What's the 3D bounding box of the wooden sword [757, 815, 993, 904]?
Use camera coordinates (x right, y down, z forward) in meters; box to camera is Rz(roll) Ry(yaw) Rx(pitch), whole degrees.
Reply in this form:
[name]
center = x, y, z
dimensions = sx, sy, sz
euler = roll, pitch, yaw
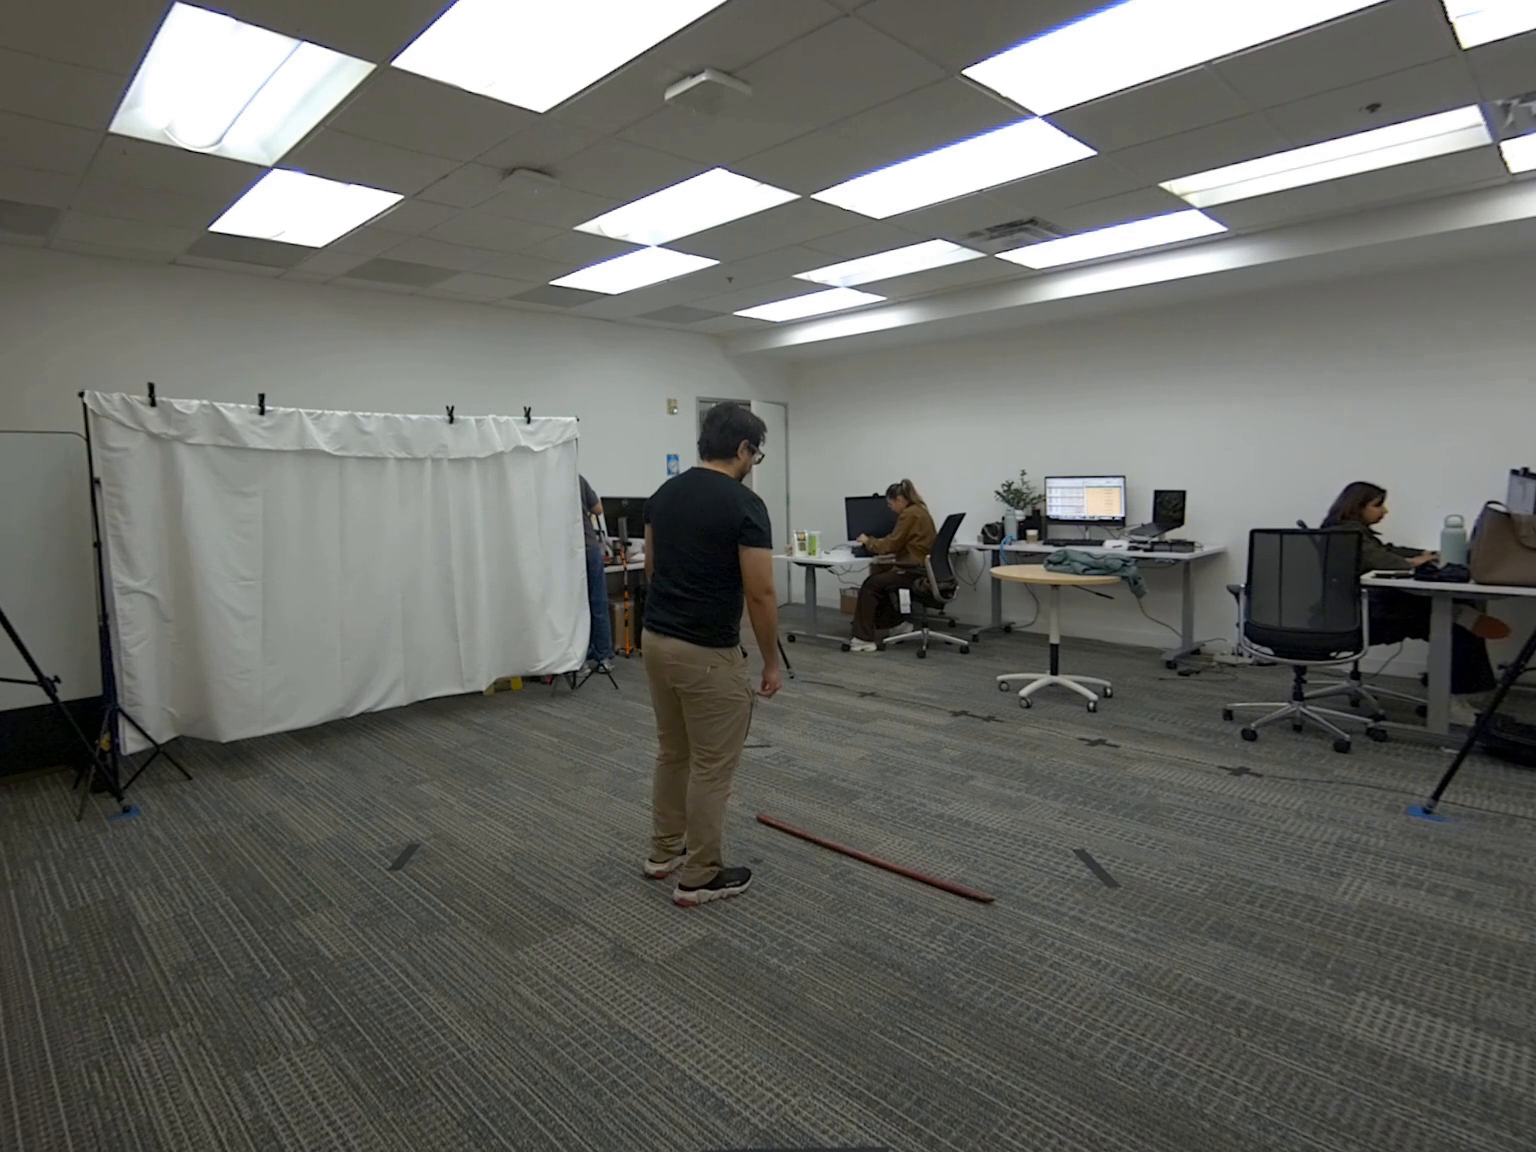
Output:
[wooden sword]
center = 0.323, 1.004, 3.106
dimensions = 1.056, 0.024, 0.049
euler = 5, -6, 45
